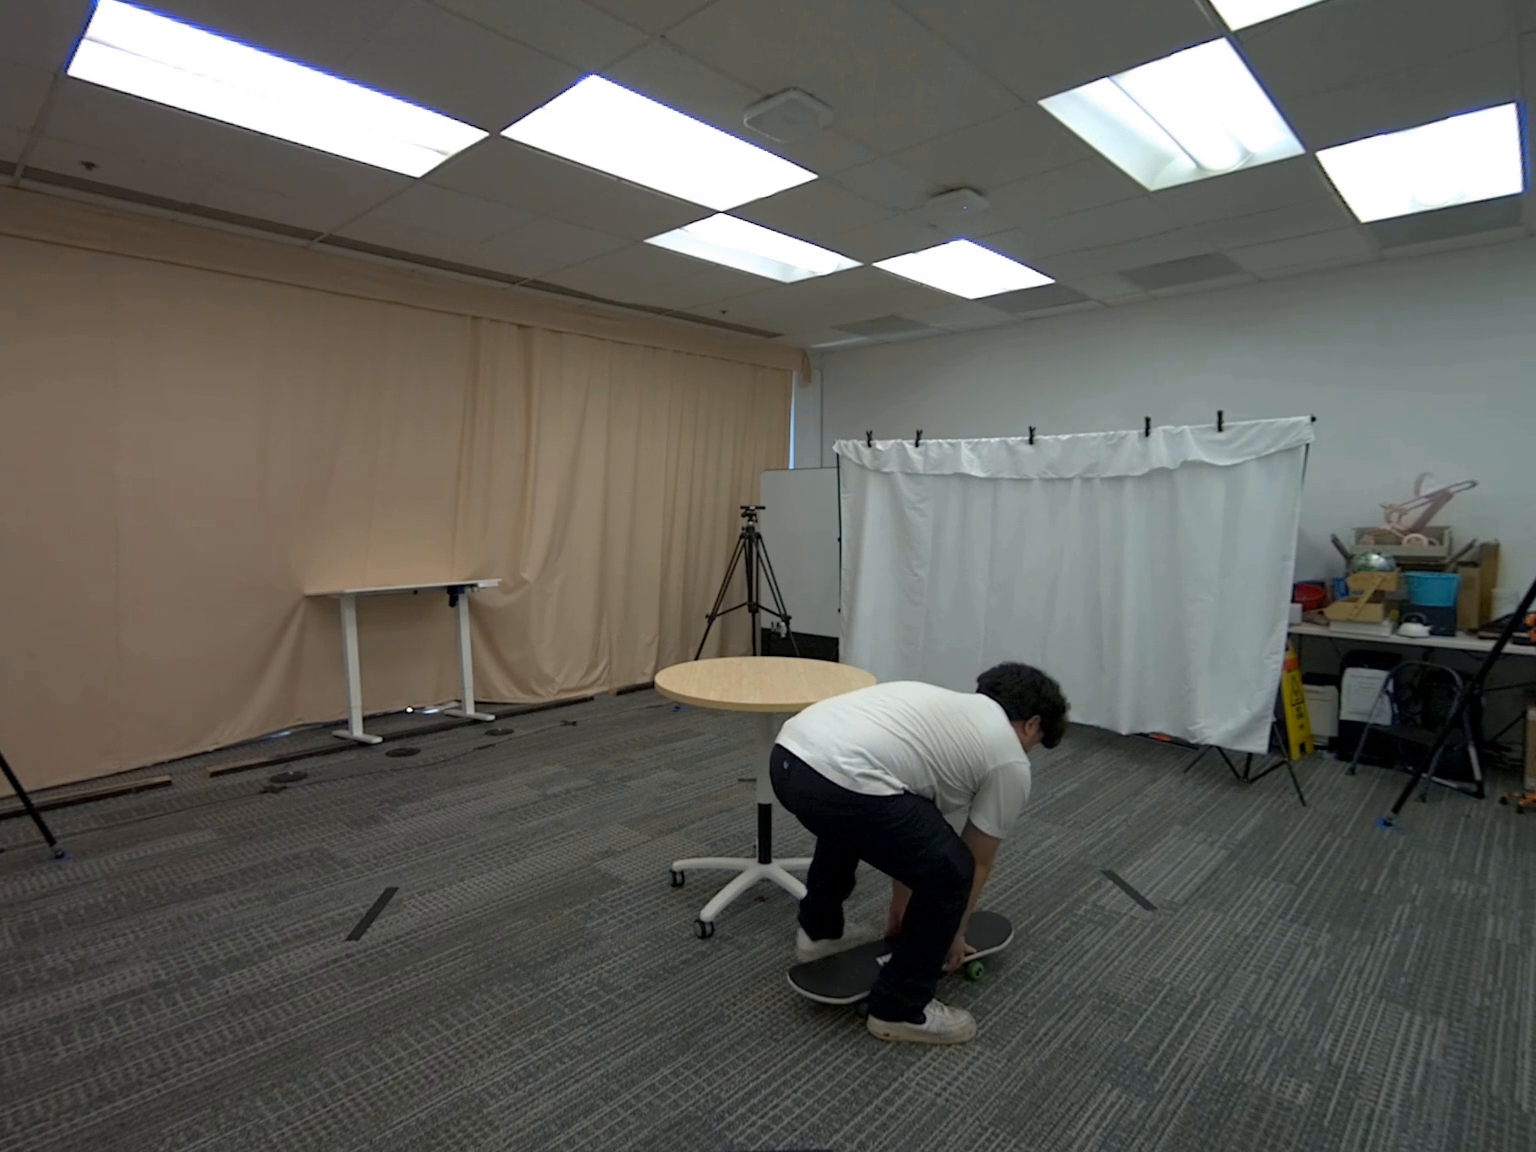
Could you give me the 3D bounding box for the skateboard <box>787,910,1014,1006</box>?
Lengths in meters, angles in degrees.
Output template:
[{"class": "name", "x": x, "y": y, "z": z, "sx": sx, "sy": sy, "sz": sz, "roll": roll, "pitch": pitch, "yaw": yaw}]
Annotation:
[{"class": "skateboard", "x": 0.405, "y": 1.133, "z": 2.450, "sx": 0.766, "sy": 0.110, "sz": 0.199, "roll": -2, "pitch": 5, "yaw": -27}]
